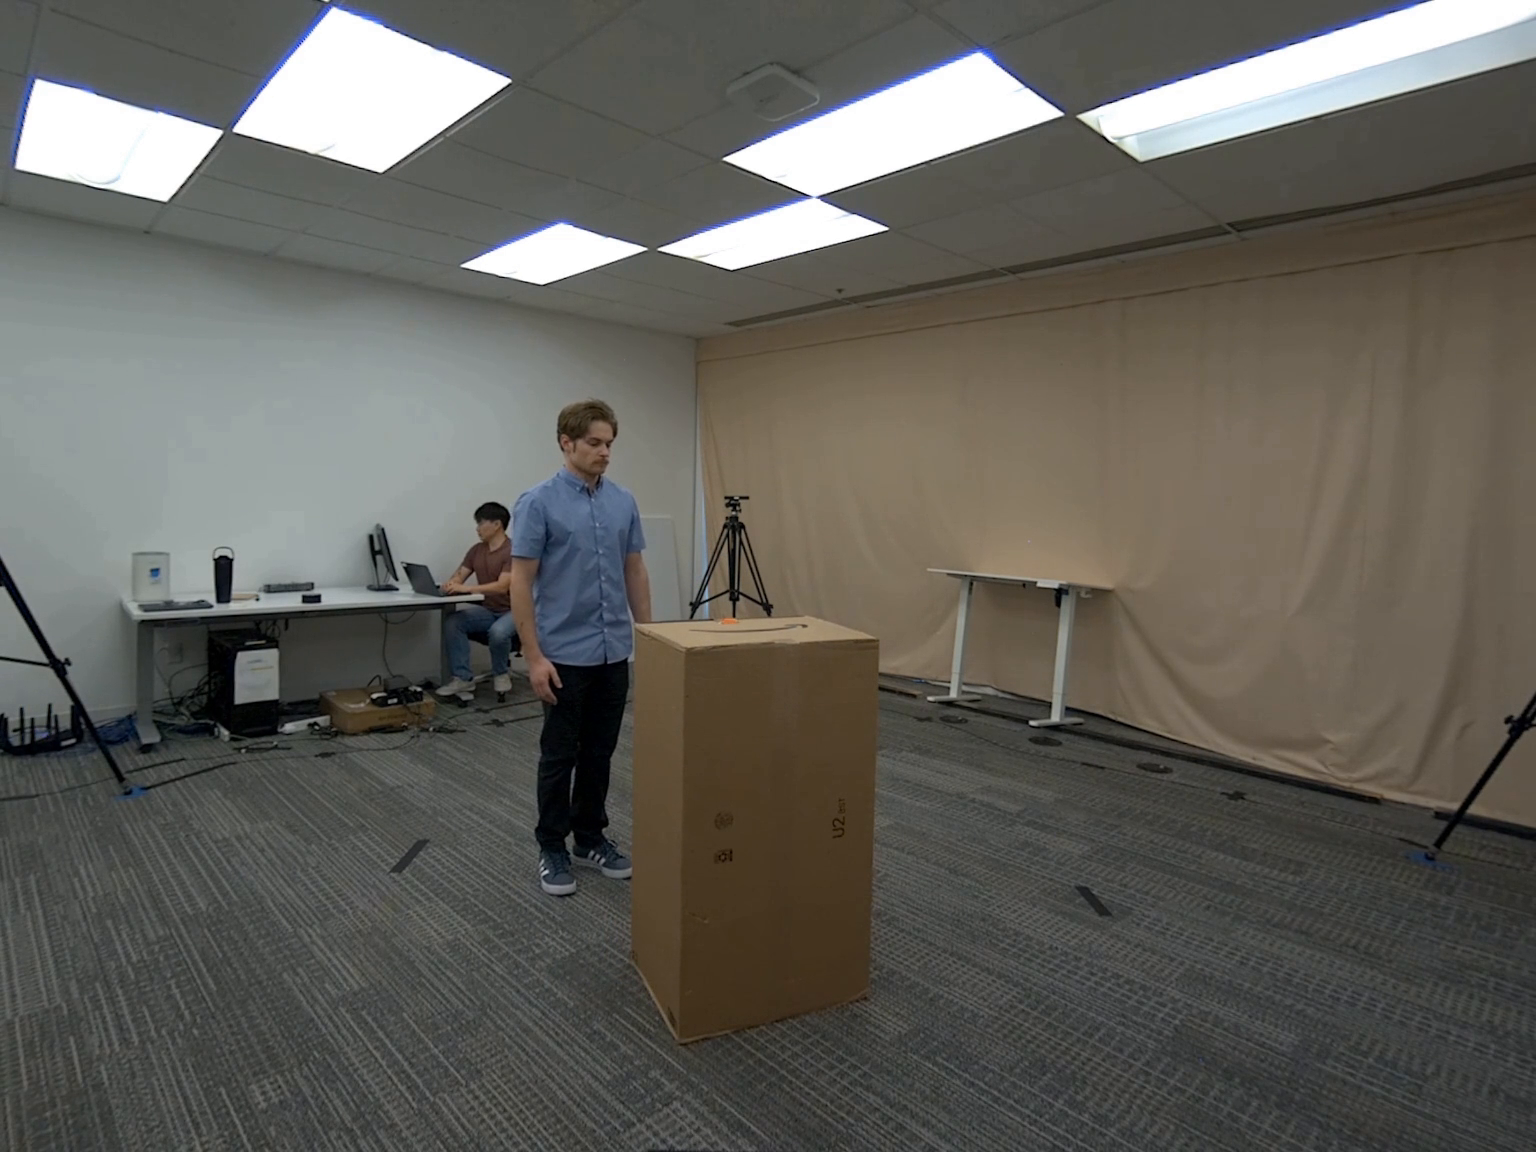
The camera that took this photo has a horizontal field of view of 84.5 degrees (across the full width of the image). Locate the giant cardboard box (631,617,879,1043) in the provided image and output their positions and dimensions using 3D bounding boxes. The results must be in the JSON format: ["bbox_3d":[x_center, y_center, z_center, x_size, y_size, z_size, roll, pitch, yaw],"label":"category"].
[{"bbox_3d":[-0.058,0.664,2.407,0.567,1.023,0.435,0,4,-25],"label":"giant cardboard box"}]
